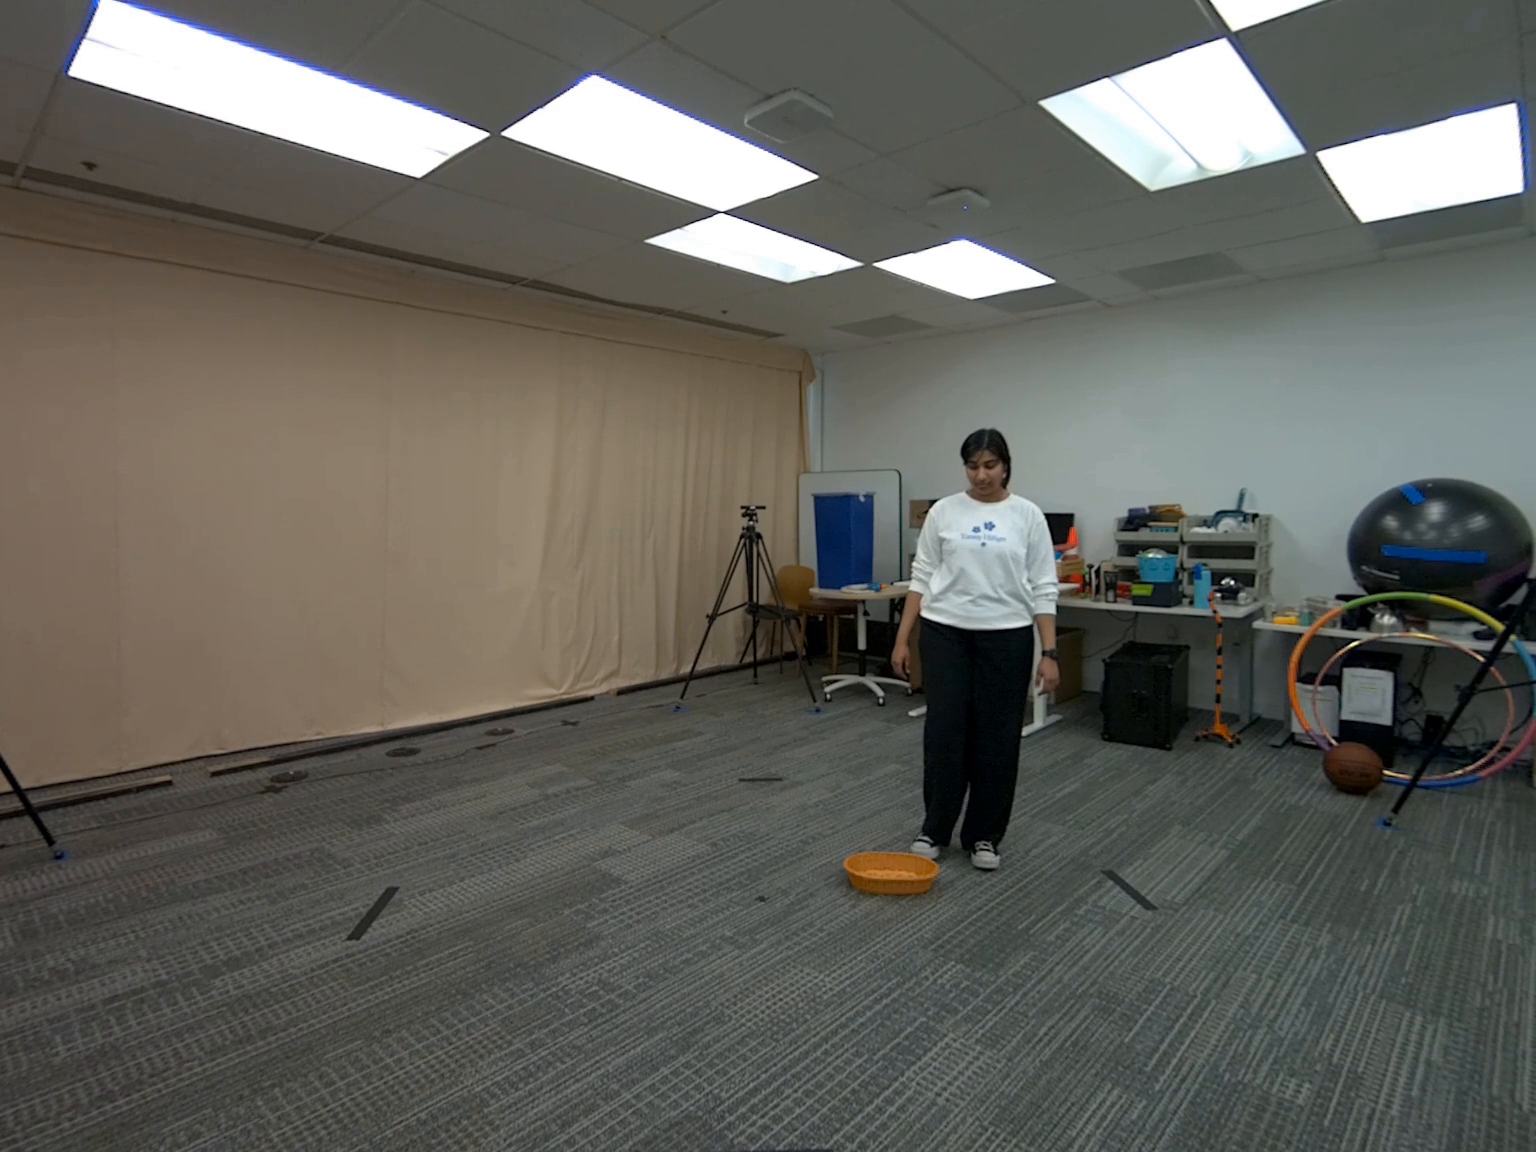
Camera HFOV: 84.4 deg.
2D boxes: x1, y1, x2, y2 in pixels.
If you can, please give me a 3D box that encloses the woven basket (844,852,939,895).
[{"bbox_3d":[0.456,1.095,3.098,0.353,0.073,0.251,0,3,6],"label":"woven basket"}]
